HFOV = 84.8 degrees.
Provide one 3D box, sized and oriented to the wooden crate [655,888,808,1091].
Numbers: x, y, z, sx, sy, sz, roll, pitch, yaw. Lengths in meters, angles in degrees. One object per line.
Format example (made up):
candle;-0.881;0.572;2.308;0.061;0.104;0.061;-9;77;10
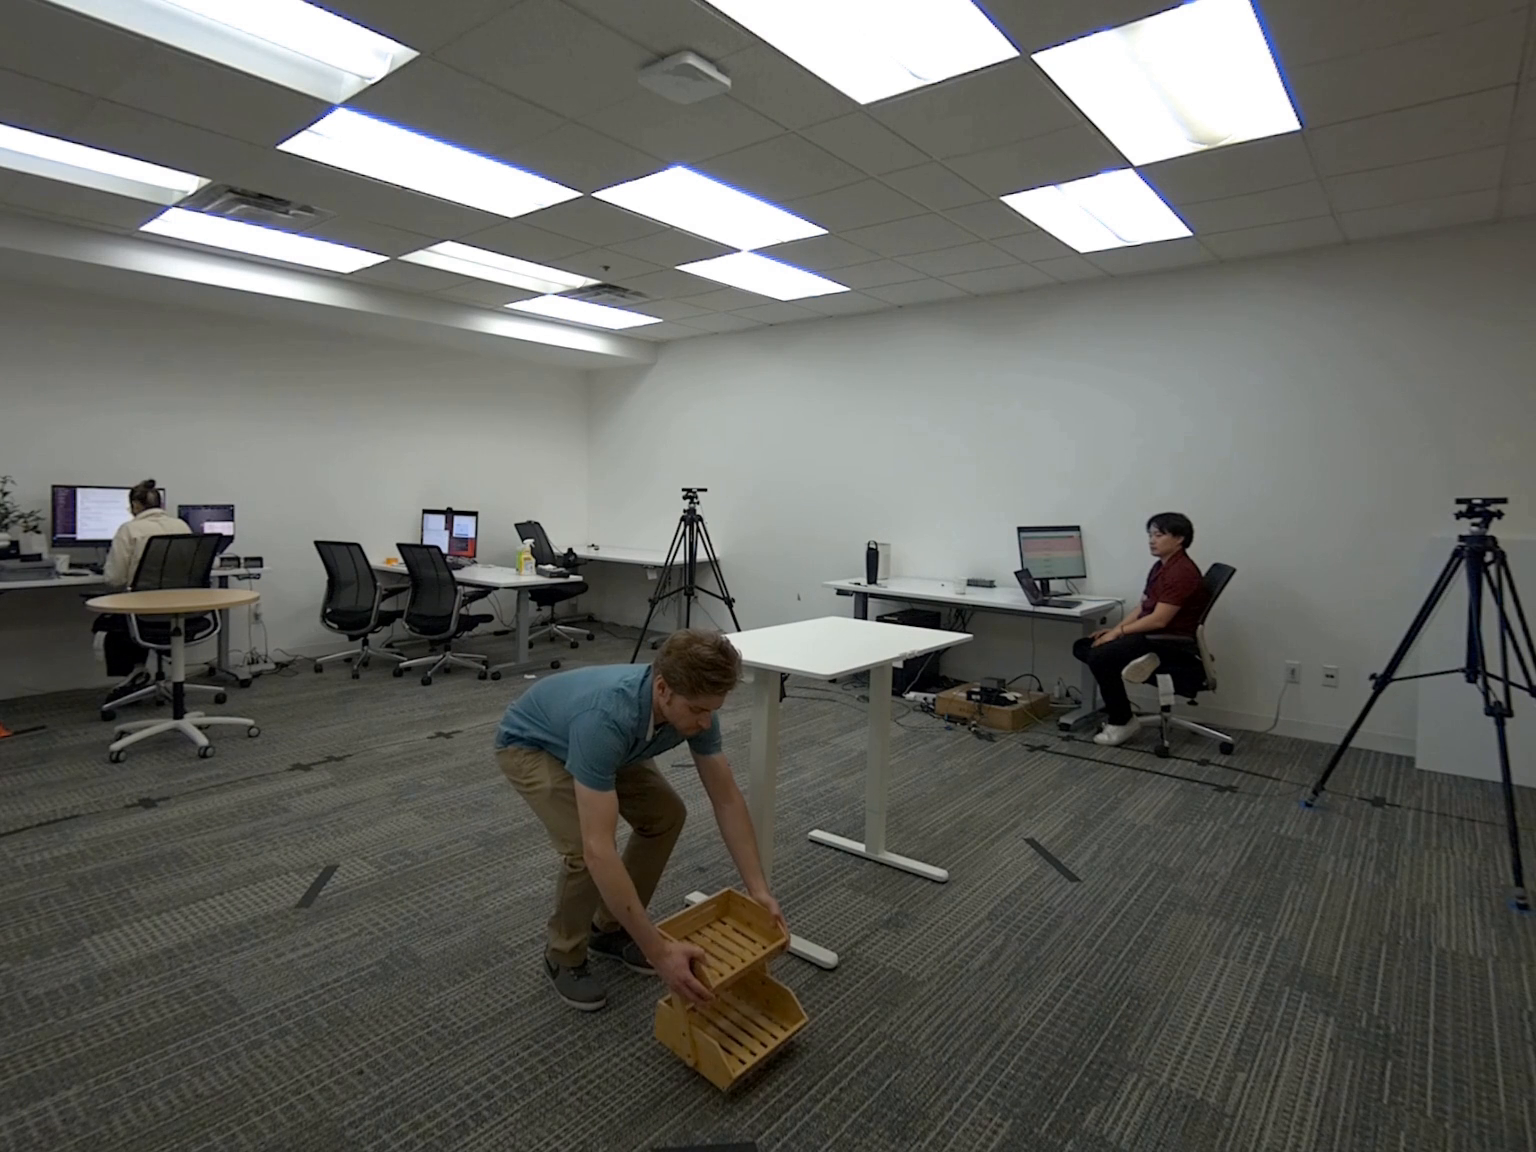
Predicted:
wooden crate;-0.092;0.998;2.090;0.313;0.272;0.314;13;9;38
